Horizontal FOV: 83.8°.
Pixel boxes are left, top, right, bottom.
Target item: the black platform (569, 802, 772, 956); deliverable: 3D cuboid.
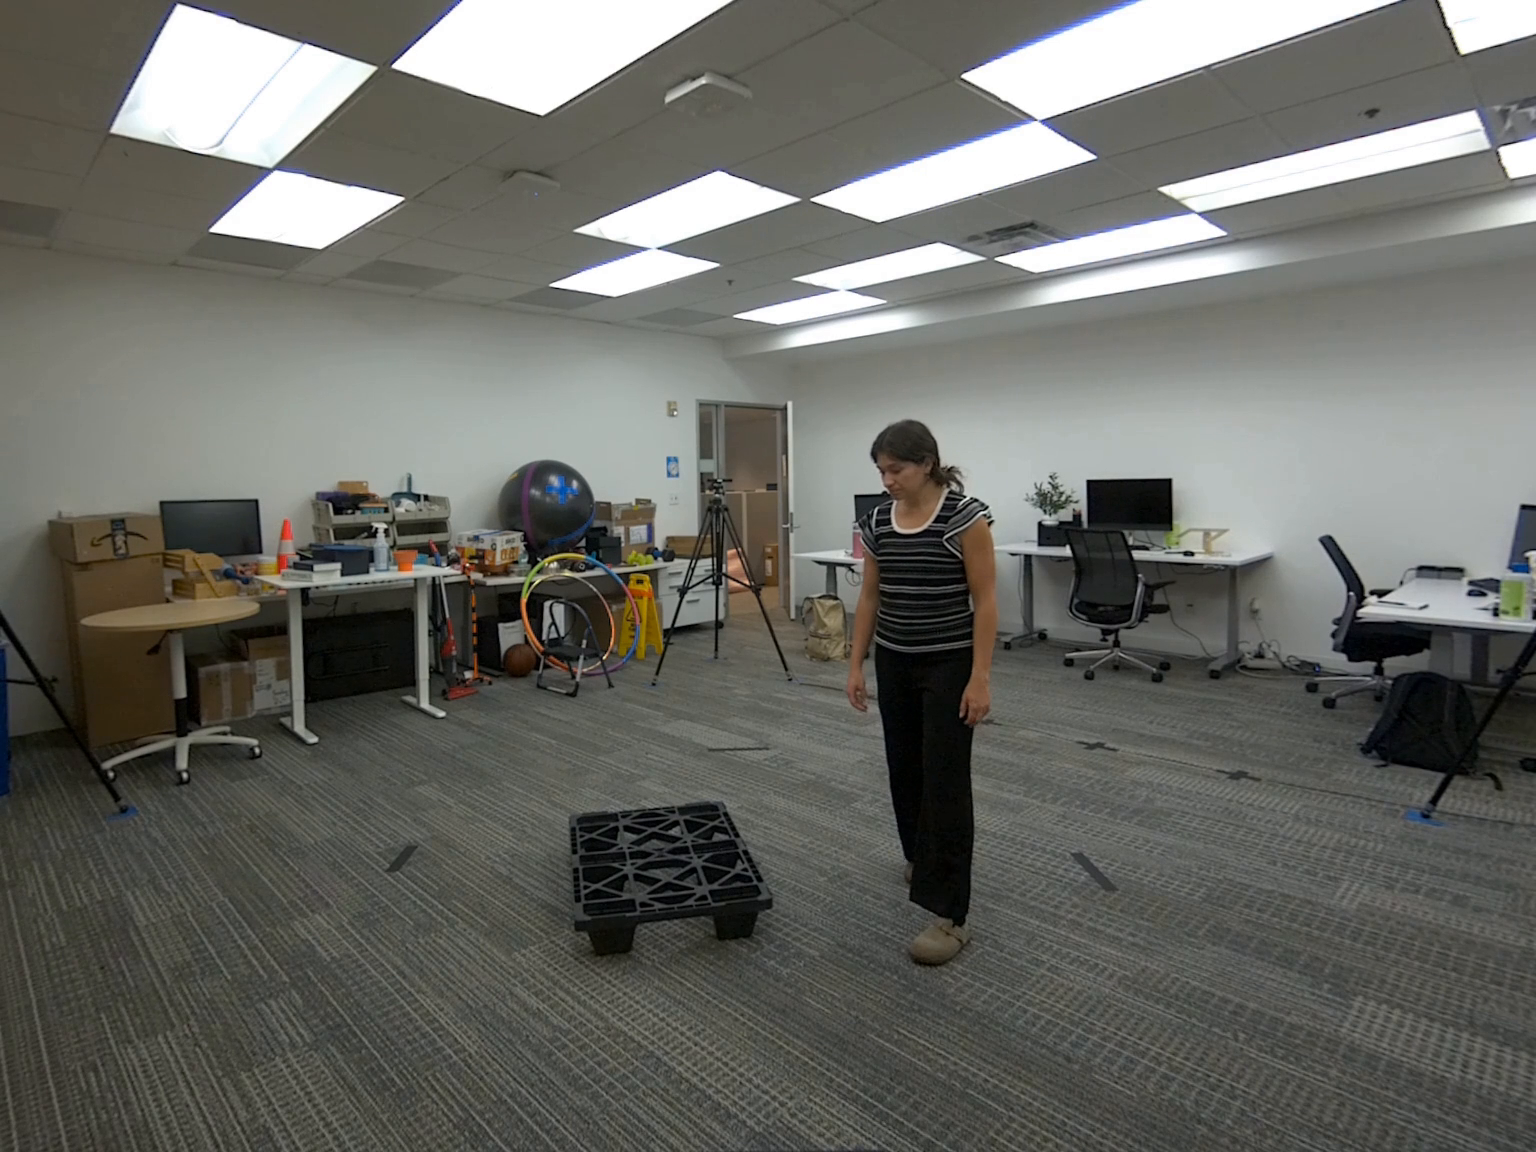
[{"bbox_3d":[-0.363,1.003,2.914,0.598,0.142,0.818,-4,7,-13],"label":"black platform"}]
